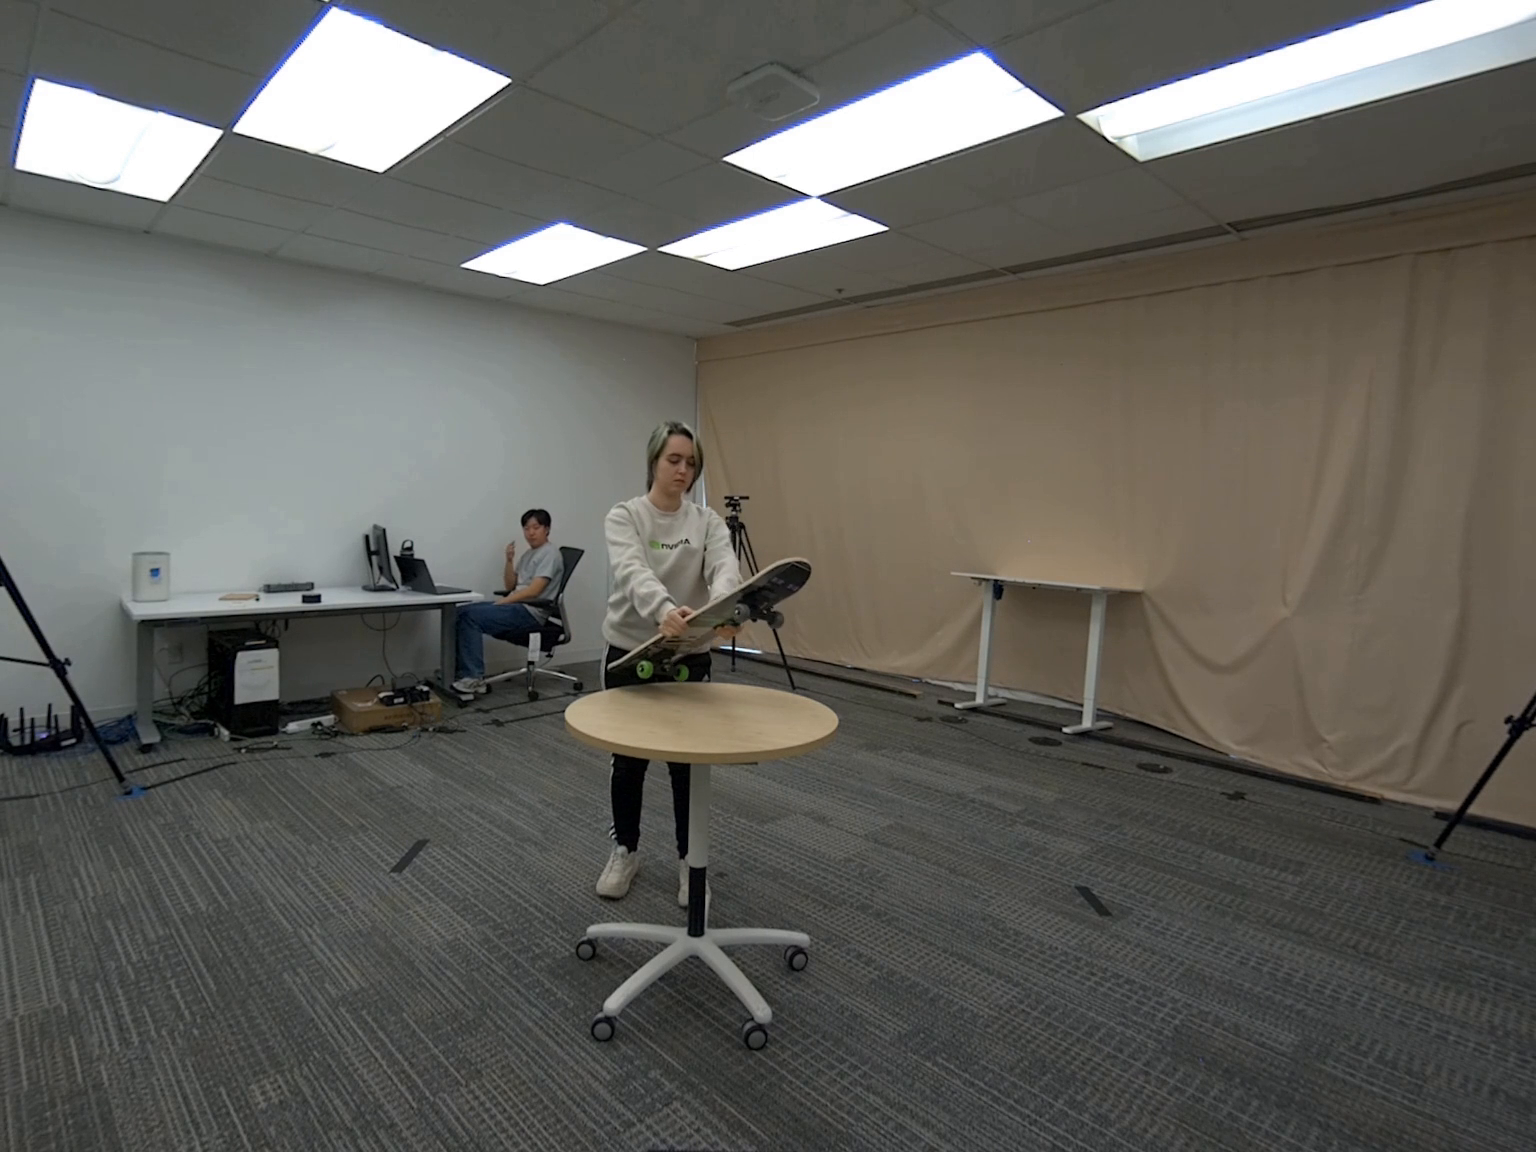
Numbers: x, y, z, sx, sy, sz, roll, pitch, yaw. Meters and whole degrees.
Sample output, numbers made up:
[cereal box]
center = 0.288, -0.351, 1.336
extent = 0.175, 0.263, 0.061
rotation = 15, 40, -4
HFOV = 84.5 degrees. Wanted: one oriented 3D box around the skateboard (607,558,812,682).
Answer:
[skateboard]
center = -0.188, 0.183, 2.456
extent = 0.790, 0.113, 0.188
rotation = -33, -28, 30
